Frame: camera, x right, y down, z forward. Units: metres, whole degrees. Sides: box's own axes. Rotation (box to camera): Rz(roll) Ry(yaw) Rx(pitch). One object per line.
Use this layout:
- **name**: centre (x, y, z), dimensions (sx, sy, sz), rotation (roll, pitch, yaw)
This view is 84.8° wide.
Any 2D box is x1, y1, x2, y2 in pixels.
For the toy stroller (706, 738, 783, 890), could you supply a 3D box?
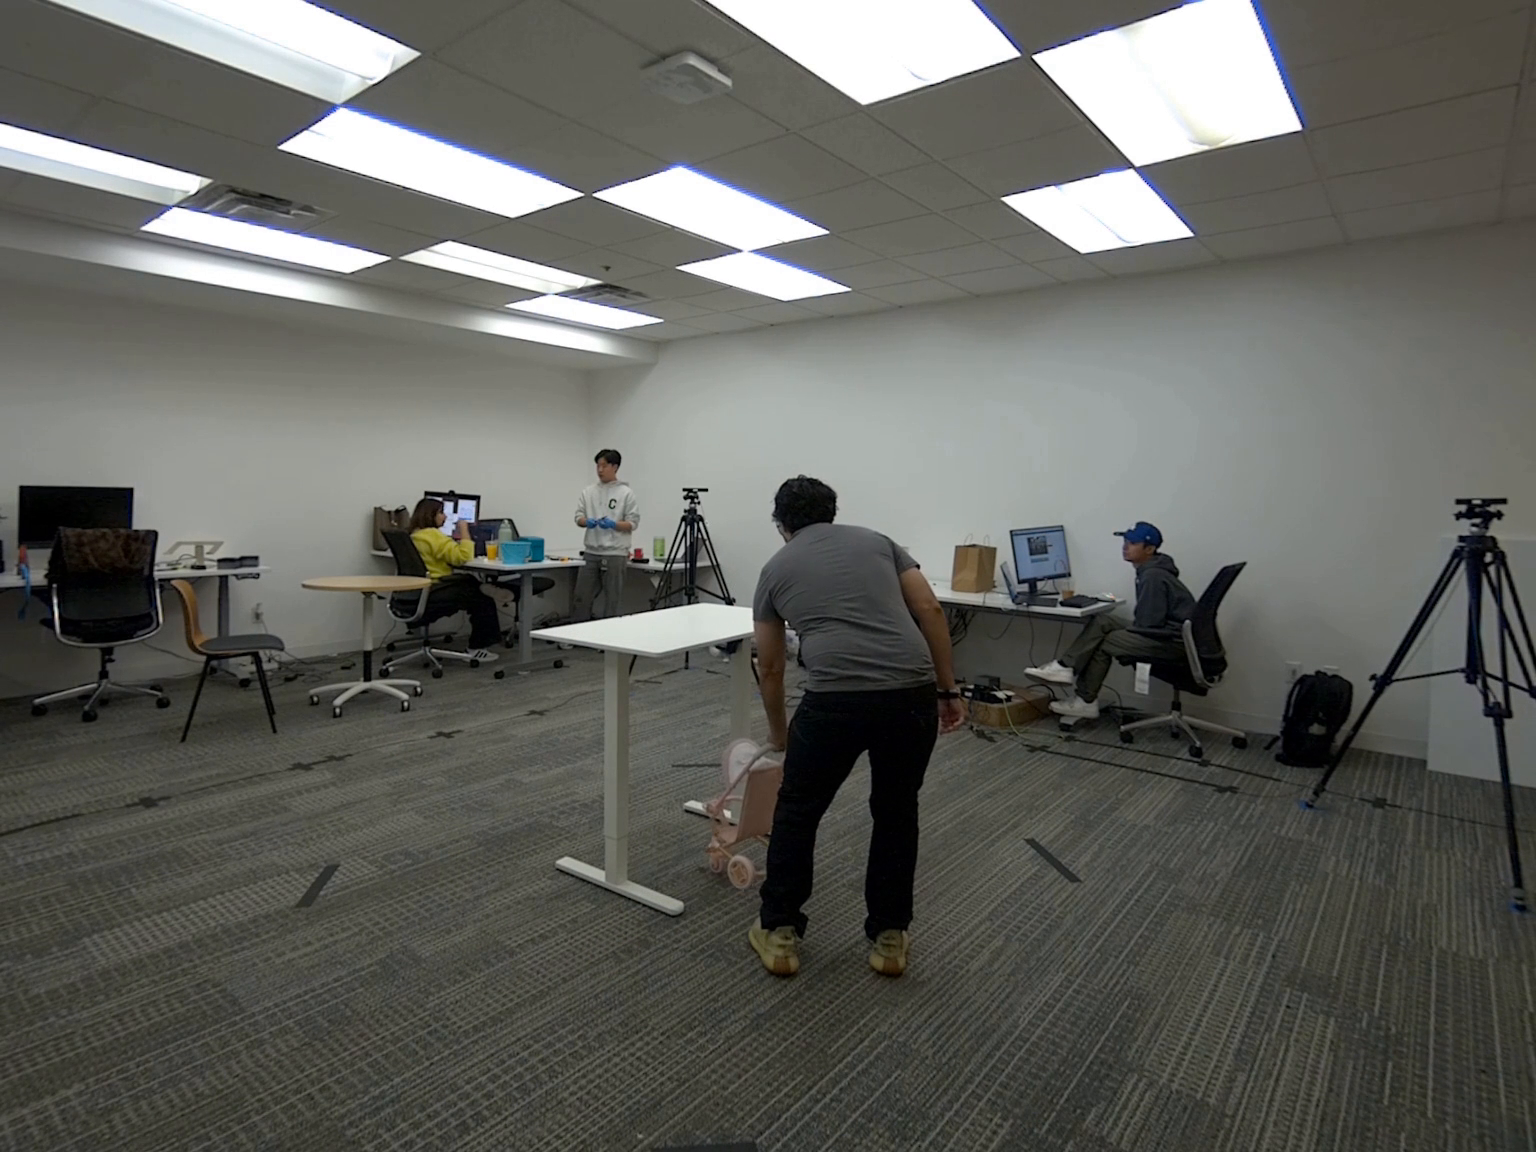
- **toy stroller**: centre (-0.085, 0.818, 2.992), dimensions (0.272, 0.534, 0.353), rotation (2, 2, -43)
